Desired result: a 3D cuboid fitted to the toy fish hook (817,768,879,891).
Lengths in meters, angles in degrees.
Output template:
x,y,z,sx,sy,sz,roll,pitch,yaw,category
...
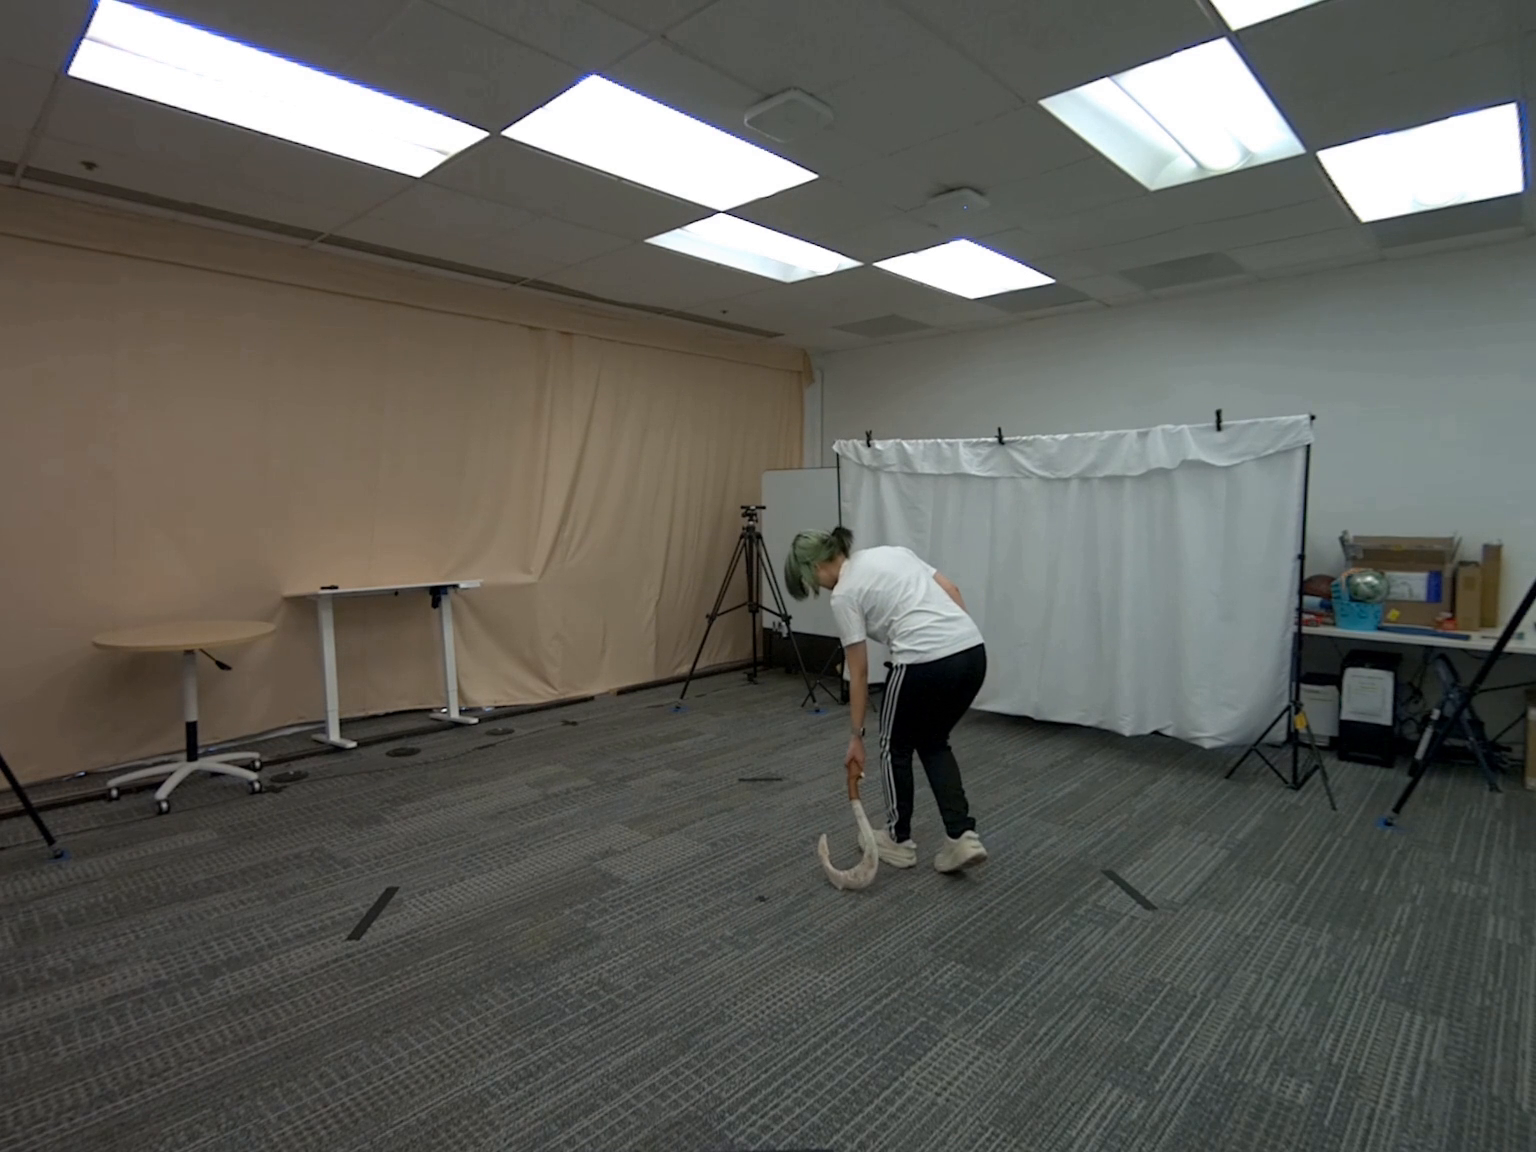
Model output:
x,y,z,sx,sy,sz,roll,pitch,yaw,category
0.293,0.900,3.150,0.228,0.515,0.047,-11,-31,18,toy fish hook
